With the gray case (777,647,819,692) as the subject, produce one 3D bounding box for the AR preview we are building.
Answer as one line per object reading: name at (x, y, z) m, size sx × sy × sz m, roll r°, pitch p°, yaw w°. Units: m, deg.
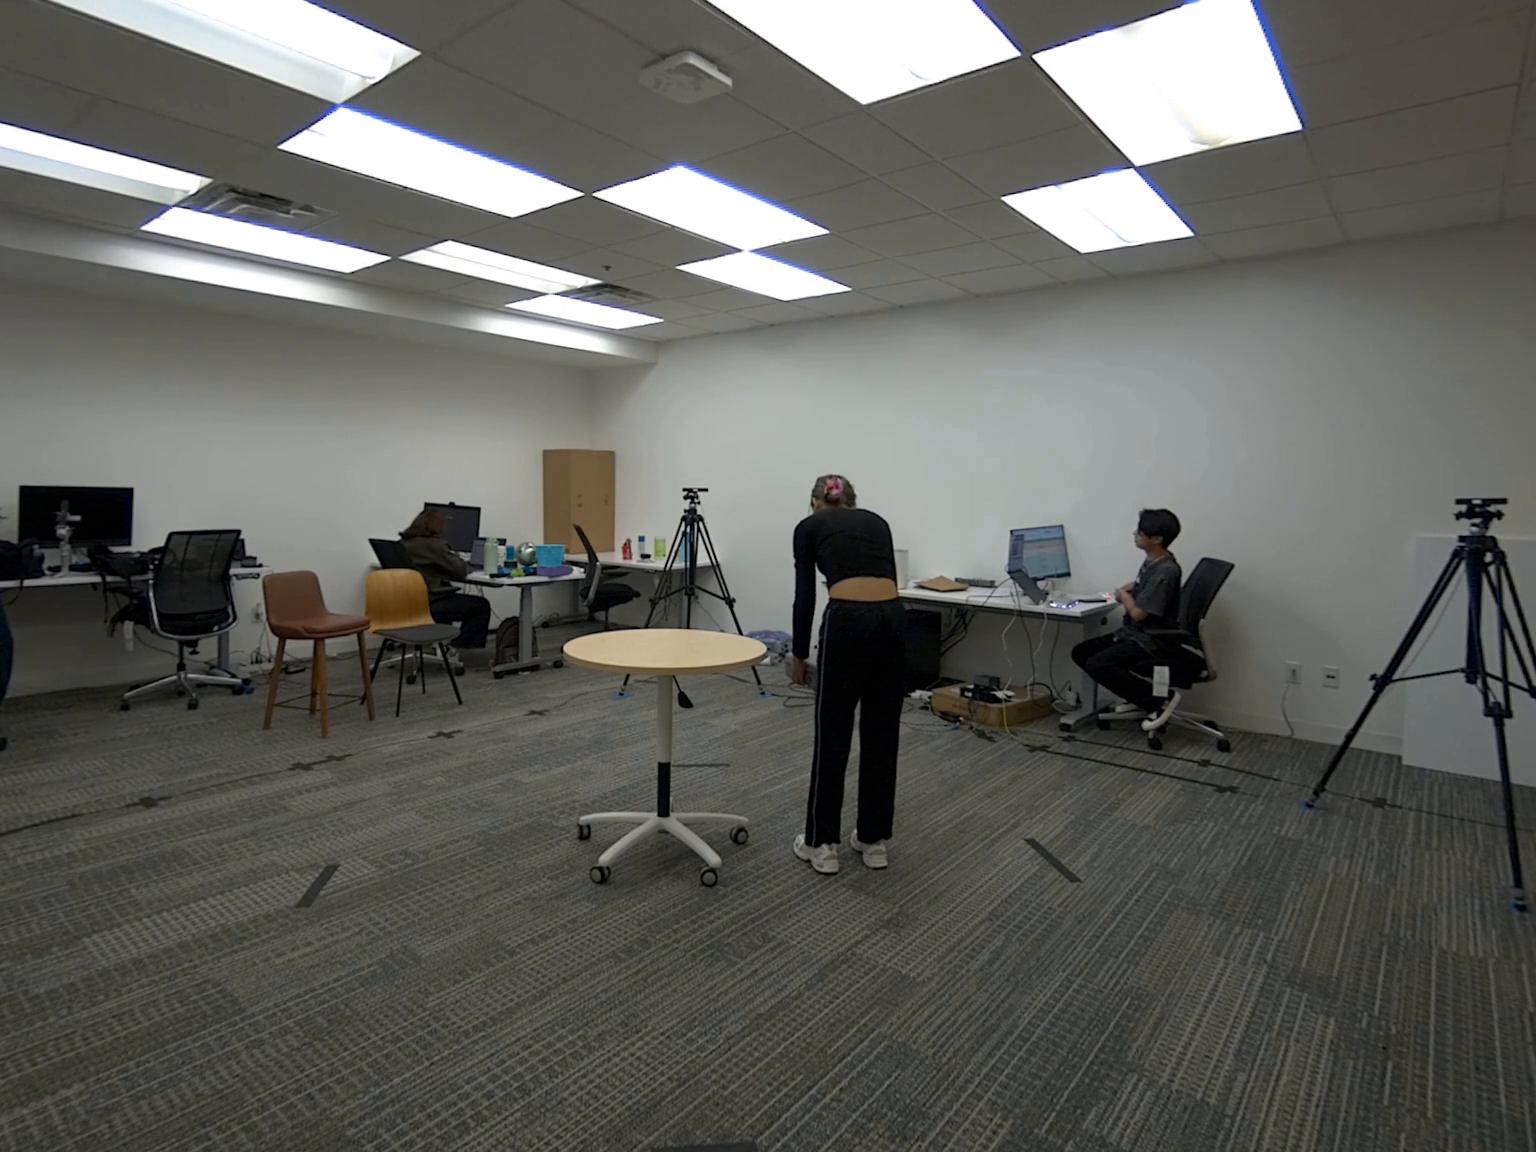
gray case at (0.216, 0.376, 3.464) m, size 0.250 × 0.103 × 0.269 m, roll -2°, pitch 9°, yaw -27°
